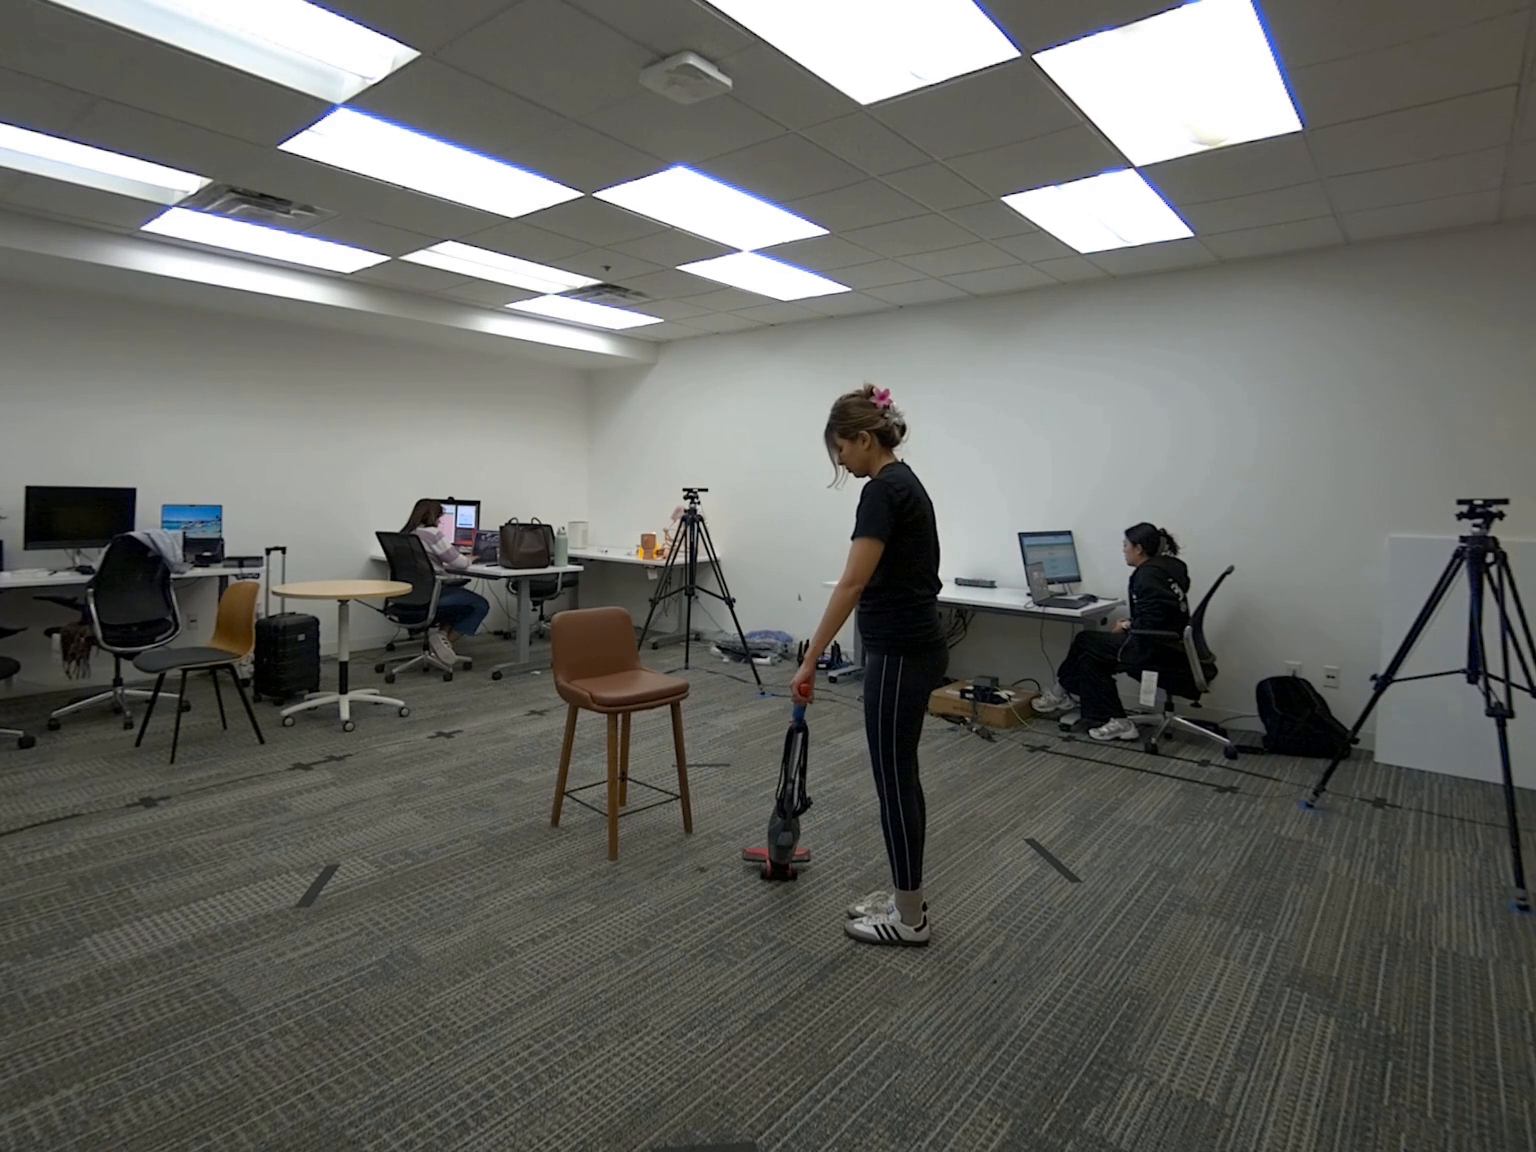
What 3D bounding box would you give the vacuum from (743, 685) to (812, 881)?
[{"bbox_3d":[0.056,0.694,2.749,0.252,1.021,0.148,3,45,-1],"label":"vacuum"}]
